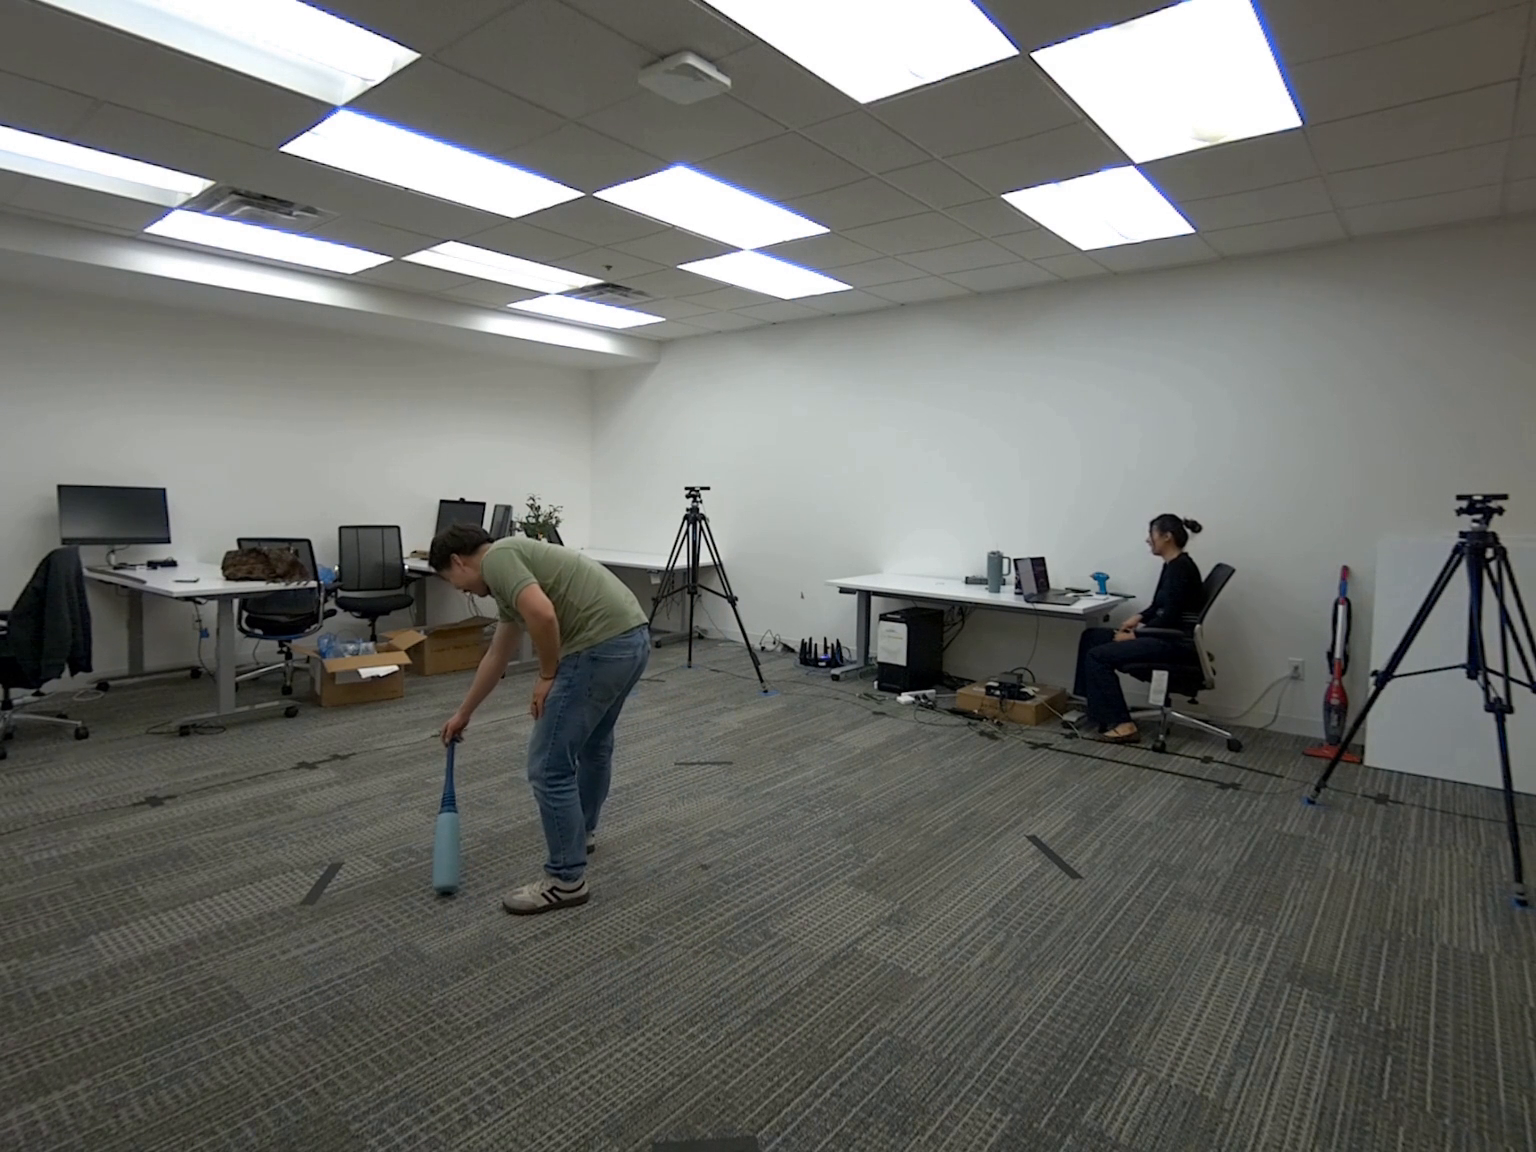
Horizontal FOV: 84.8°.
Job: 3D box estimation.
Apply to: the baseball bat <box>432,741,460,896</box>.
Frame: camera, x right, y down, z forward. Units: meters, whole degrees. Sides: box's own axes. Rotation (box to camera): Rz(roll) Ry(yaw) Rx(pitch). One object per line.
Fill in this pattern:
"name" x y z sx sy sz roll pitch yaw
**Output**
"baseball bat" -1.139 0.828 3.016 0.088 0.559 0.087 -6 -31 -6
